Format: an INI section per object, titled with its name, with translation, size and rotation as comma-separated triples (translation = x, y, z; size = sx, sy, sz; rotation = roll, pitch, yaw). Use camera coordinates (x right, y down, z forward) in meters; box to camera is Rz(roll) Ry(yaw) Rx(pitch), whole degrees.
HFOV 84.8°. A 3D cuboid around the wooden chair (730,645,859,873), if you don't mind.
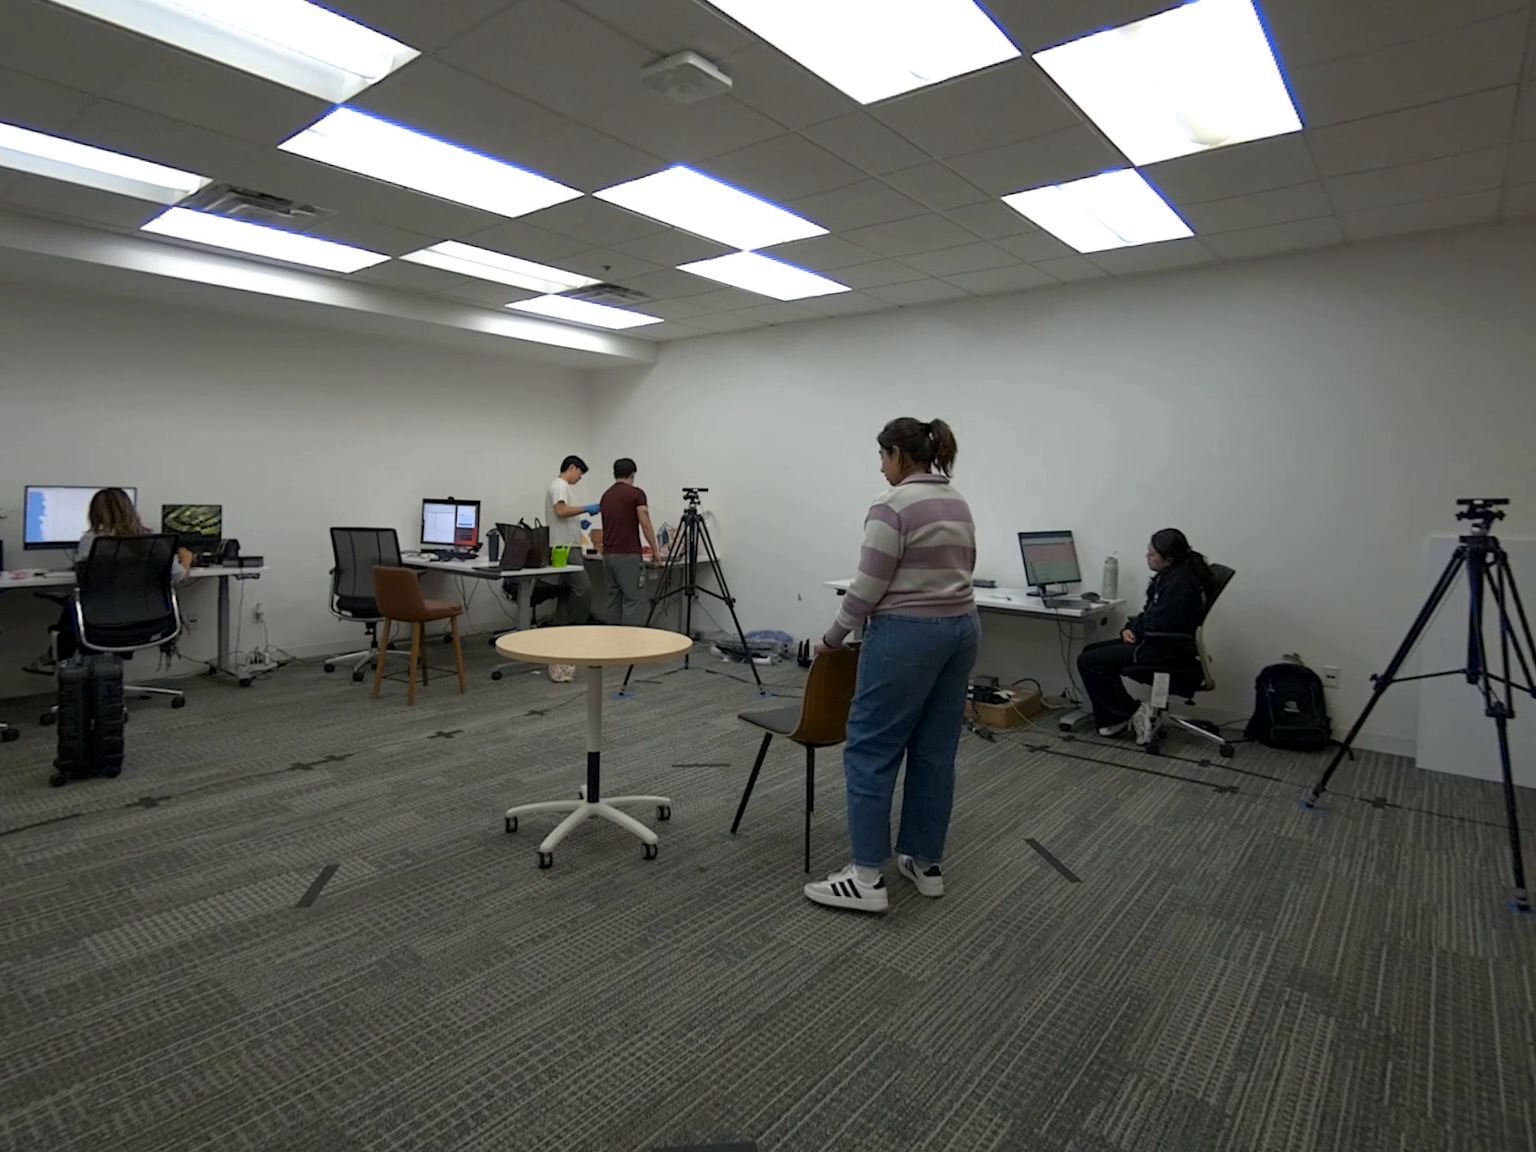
[wooden chair]
translation = 0.154, 0.622, 3.373
size = 0.464, 0.872, 0.542
rotation = -1, 9, -39
